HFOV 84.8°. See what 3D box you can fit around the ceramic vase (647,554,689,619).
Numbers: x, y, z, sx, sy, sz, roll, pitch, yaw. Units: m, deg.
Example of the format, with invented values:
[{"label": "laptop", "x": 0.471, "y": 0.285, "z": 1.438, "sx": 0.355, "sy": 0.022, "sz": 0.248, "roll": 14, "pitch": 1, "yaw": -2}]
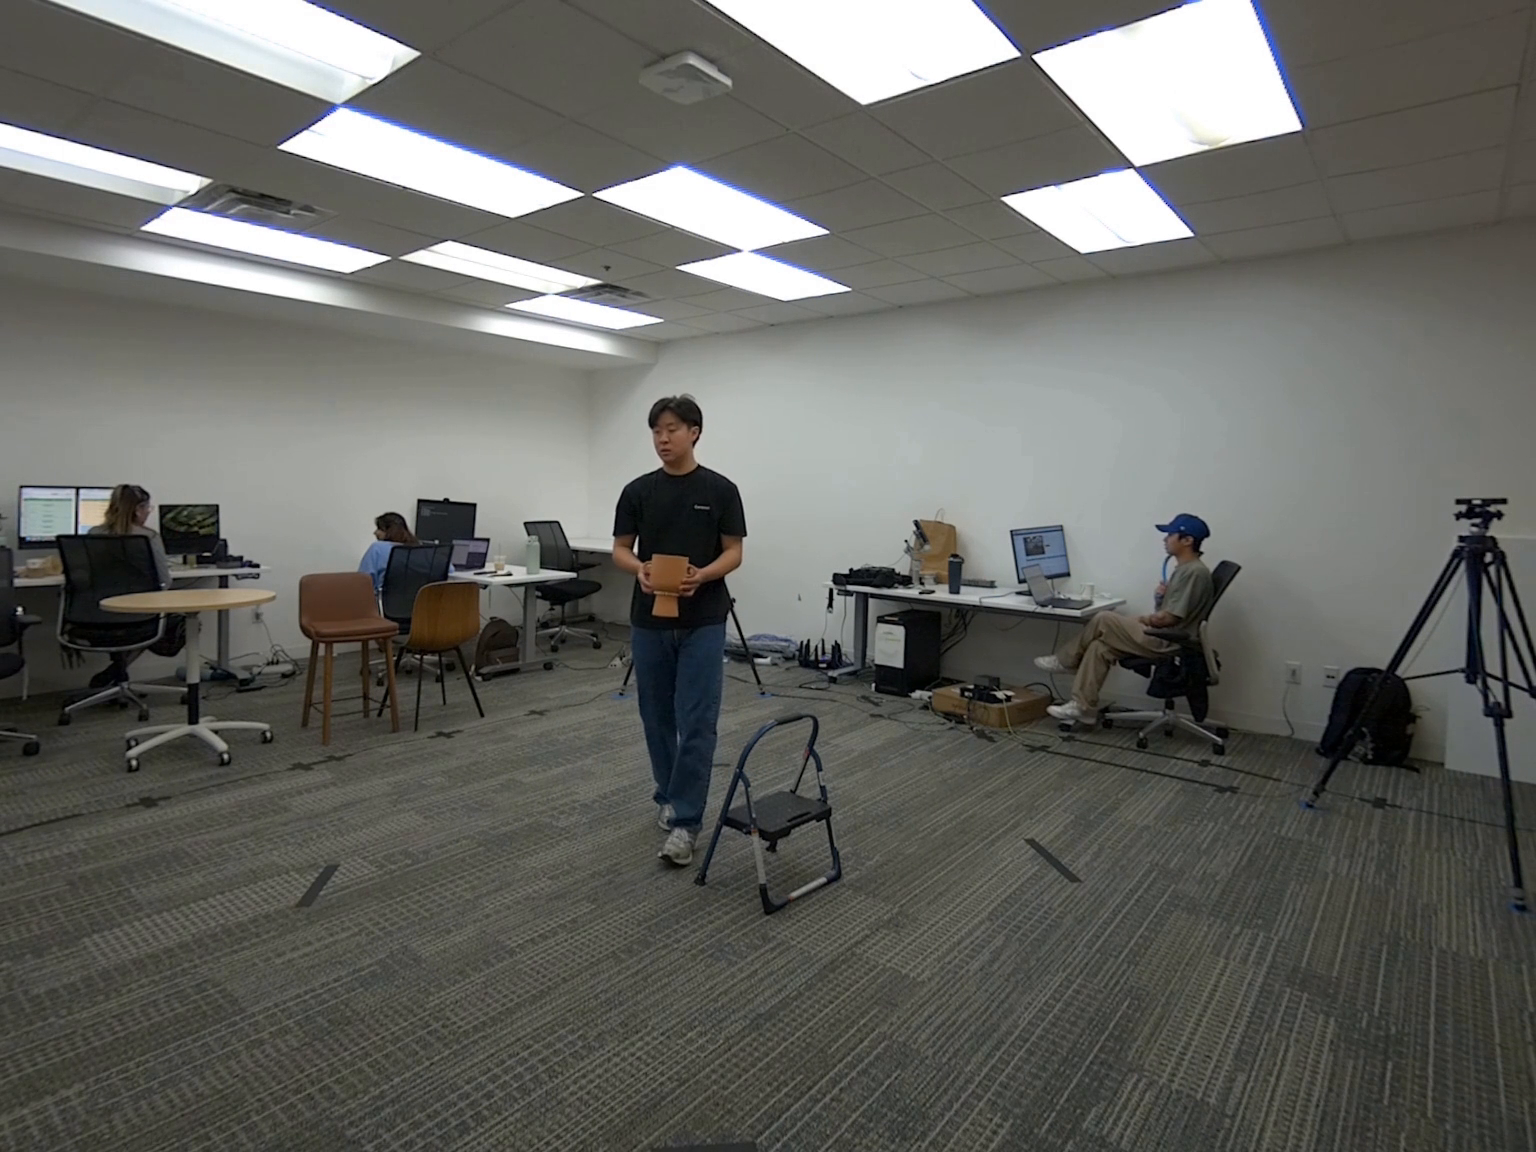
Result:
[{"label": "ceramic vase", "x": -0.381, "y": 0.031, "z": 3.115, "sx": 0.164, "sy": 0.220, "sz": 0.130, "roll": 2, "pitch": -3, "yaw": 43}]
